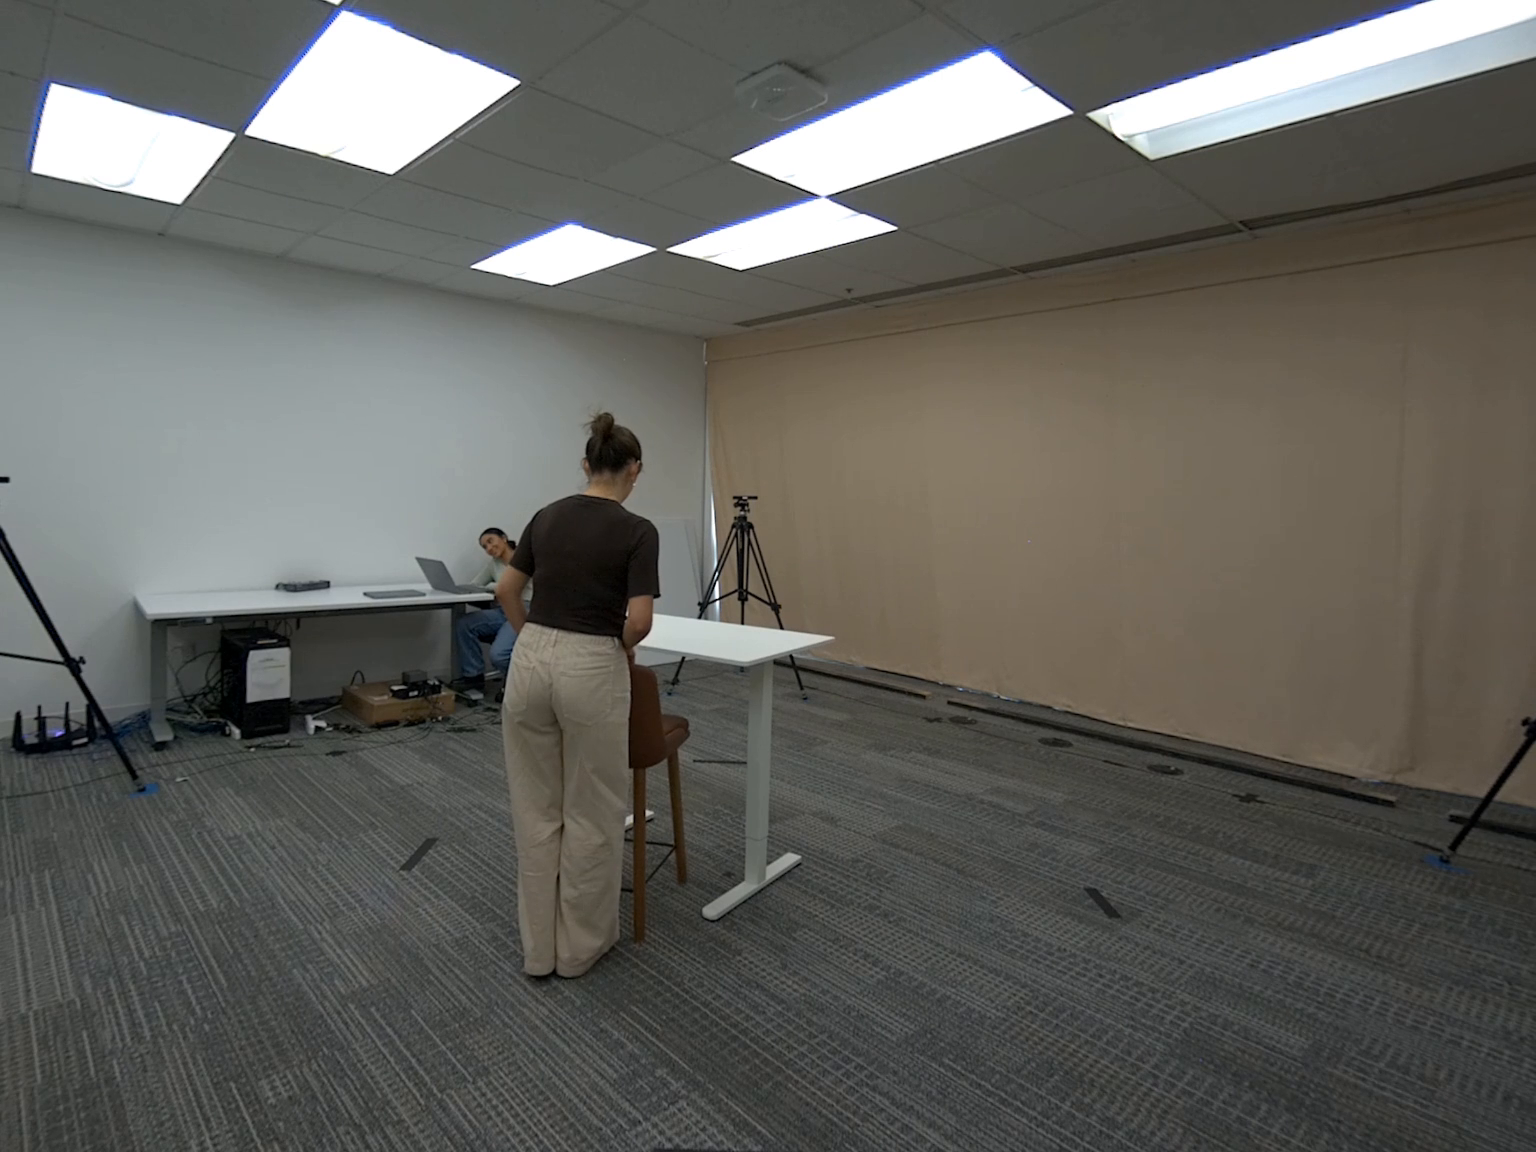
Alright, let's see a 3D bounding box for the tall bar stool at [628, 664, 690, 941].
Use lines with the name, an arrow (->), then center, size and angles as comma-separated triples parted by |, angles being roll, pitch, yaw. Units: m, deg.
tall bar stool -> -0.525, 0.686, 2.835 | 0.462, 0.886, 0.464 | 3, 6, 13
